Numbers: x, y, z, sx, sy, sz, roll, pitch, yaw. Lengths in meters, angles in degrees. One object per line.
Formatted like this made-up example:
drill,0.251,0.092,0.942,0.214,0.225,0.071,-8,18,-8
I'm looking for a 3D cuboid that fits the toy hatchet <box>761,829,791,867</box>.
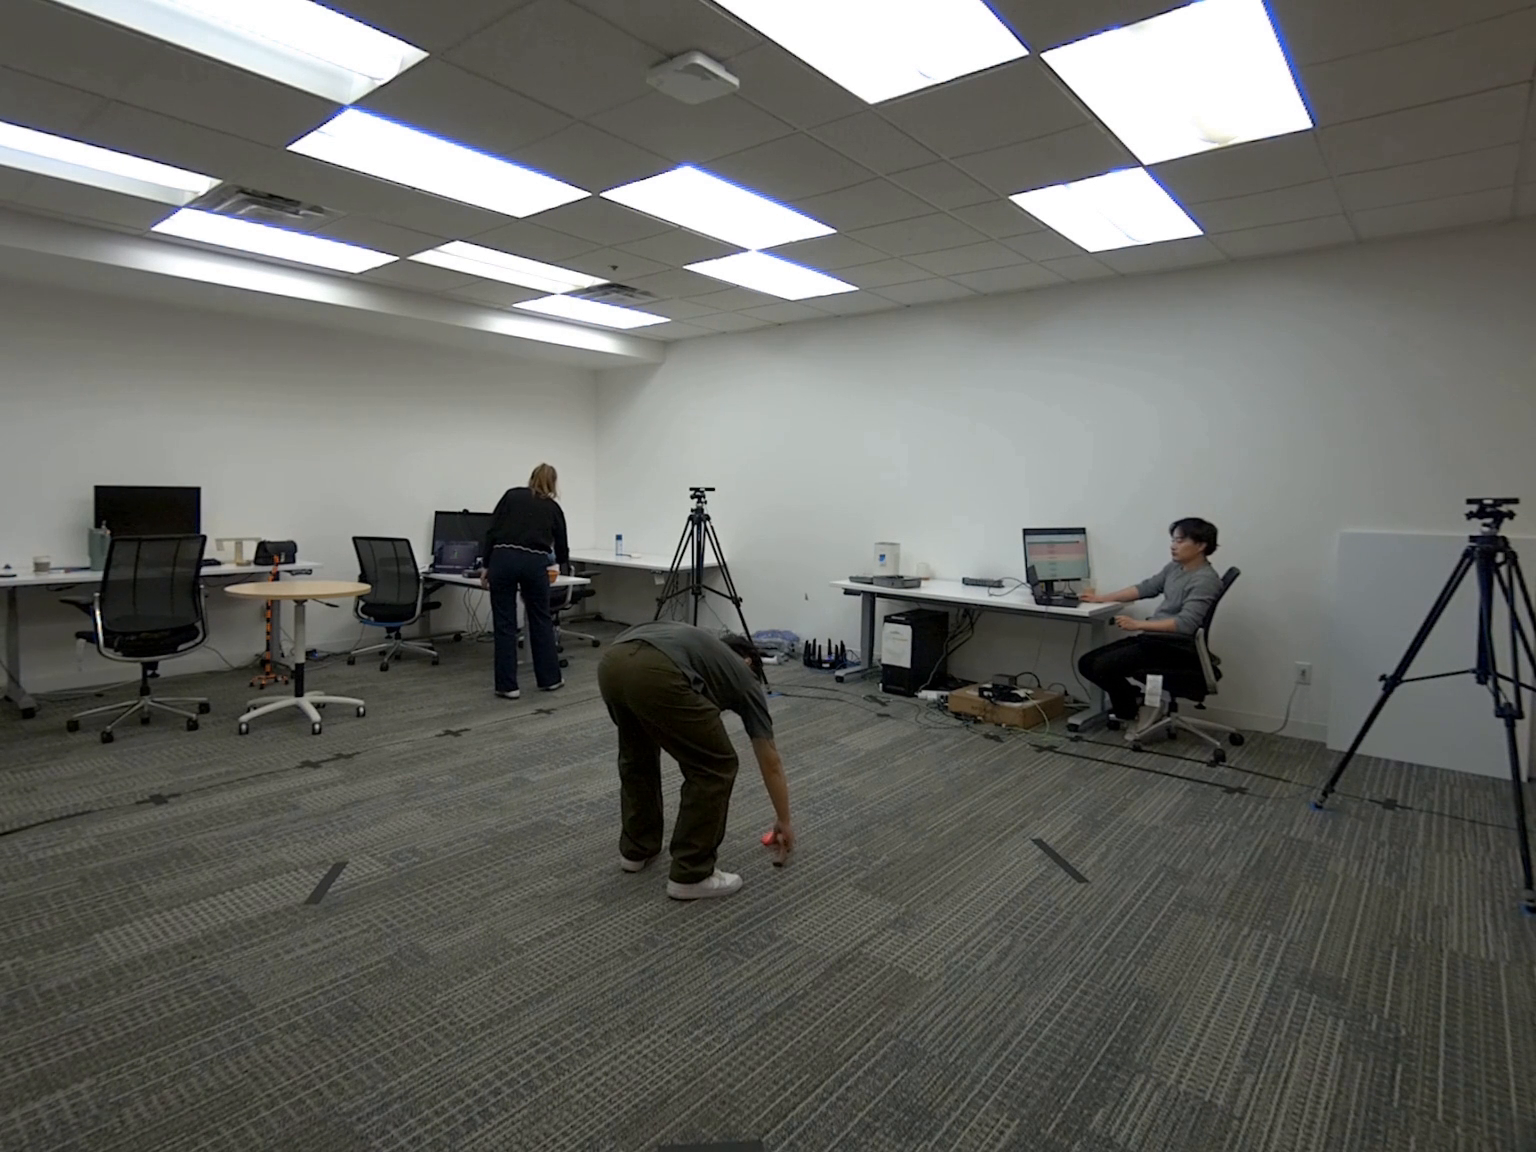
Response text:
toy hatchet,0.006,1.043,3.264,0.132,0.029,0.269,-11,8,13
